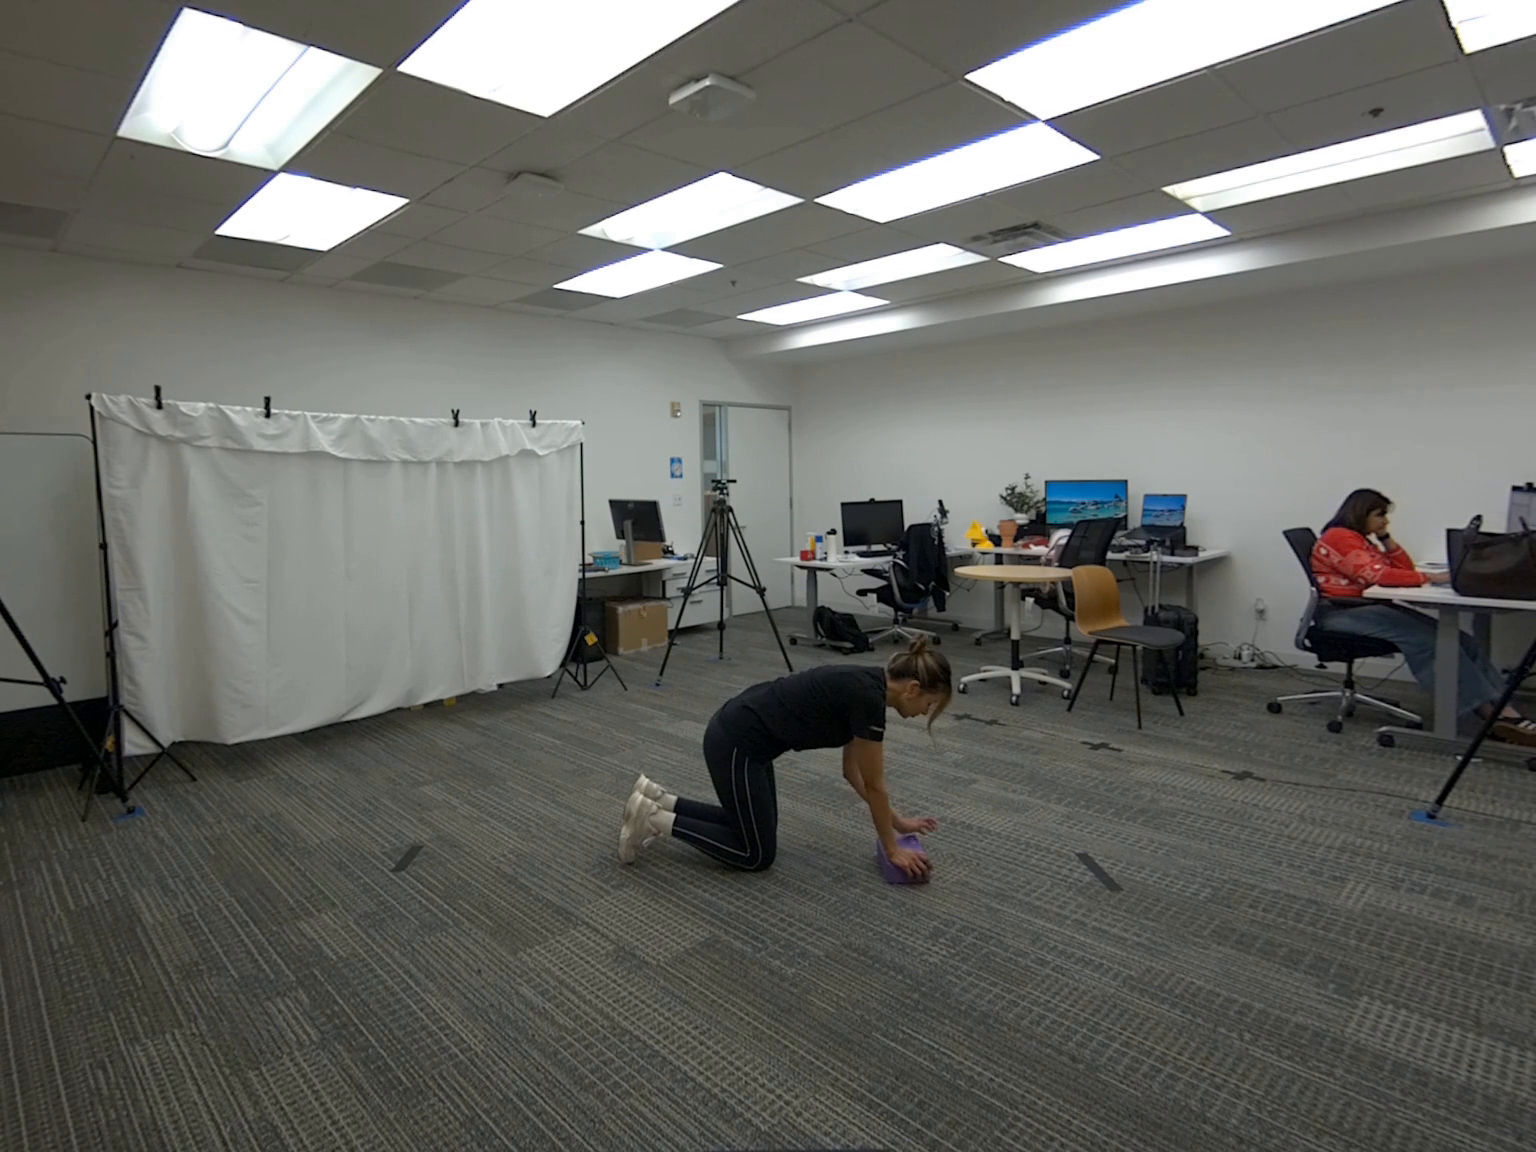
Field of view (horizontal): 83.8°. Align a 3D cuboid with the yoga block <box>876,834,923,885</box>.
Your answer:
[{"bbox_3d":[0.476,0.998,3.036,0.149,0.076,0.230,0,6,-1],"label":"yoga block"}]
